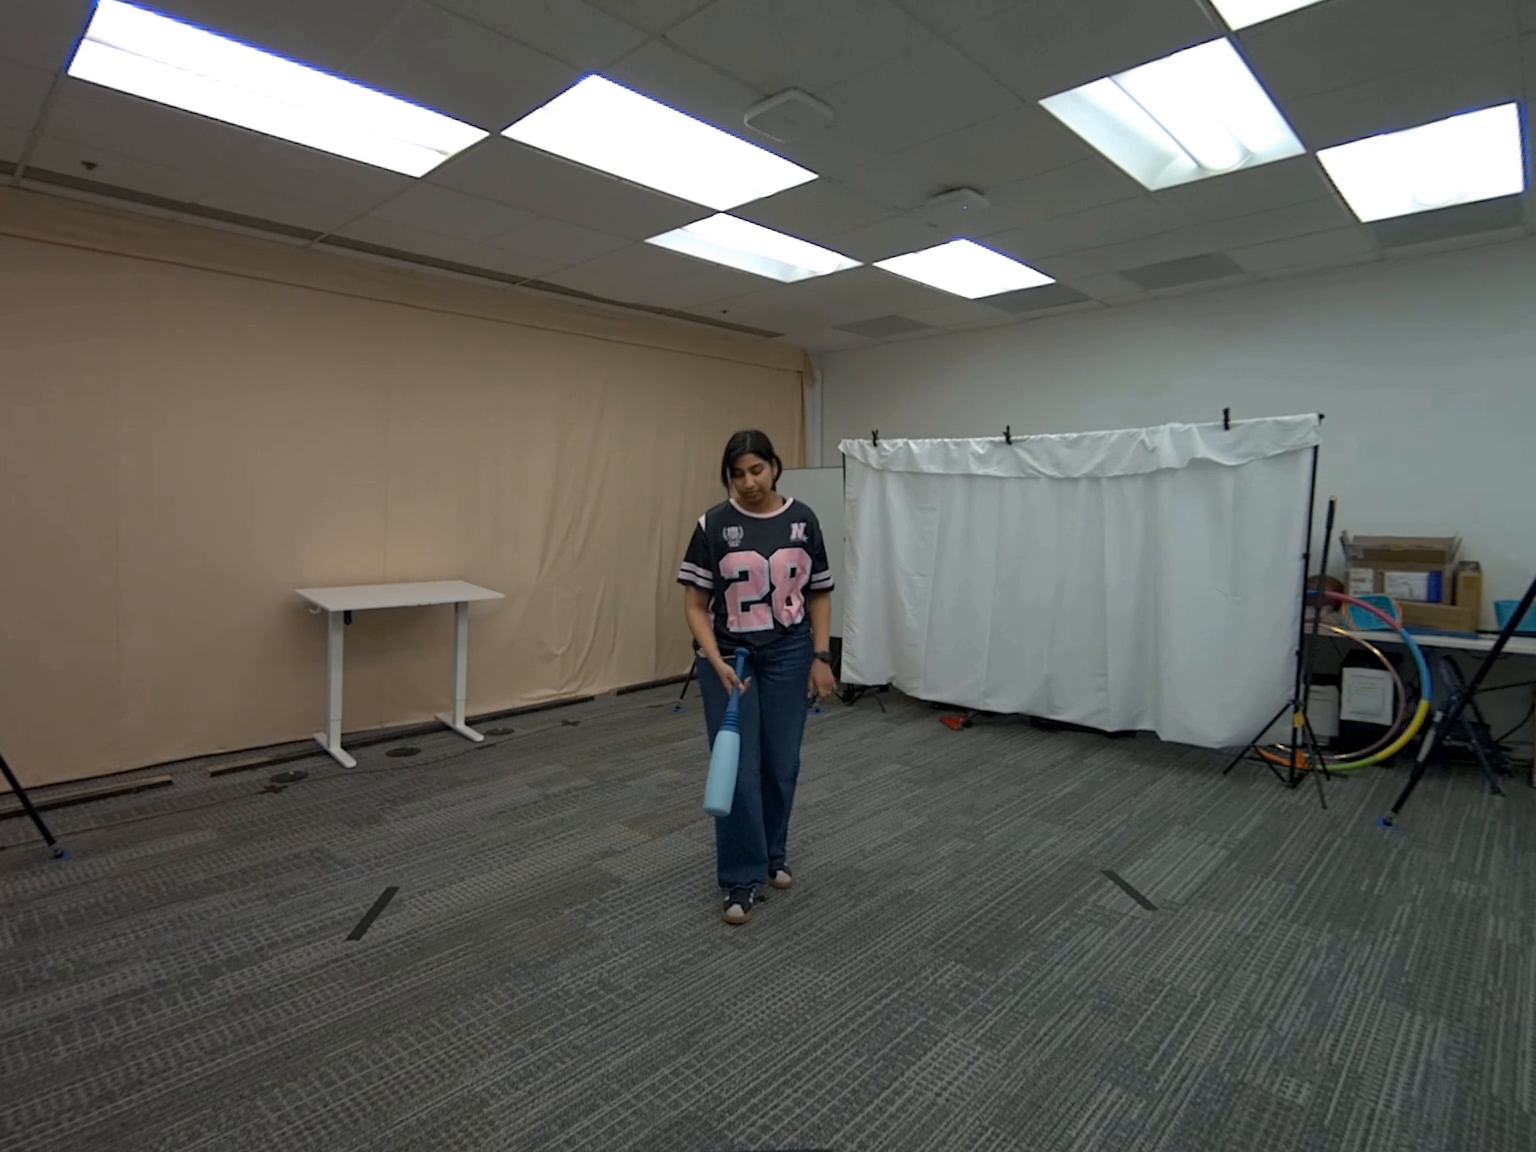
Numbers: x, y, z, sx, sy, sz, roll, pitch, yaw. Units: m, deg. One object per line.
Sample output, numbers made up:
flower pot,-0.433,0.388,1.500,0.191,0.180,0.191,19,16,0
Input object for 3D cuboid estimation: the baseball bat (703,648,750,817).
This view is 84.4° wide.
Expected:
baseball bat,-0.105,0.480,2.671,0.089,0.548,0.088,9,-30,3
